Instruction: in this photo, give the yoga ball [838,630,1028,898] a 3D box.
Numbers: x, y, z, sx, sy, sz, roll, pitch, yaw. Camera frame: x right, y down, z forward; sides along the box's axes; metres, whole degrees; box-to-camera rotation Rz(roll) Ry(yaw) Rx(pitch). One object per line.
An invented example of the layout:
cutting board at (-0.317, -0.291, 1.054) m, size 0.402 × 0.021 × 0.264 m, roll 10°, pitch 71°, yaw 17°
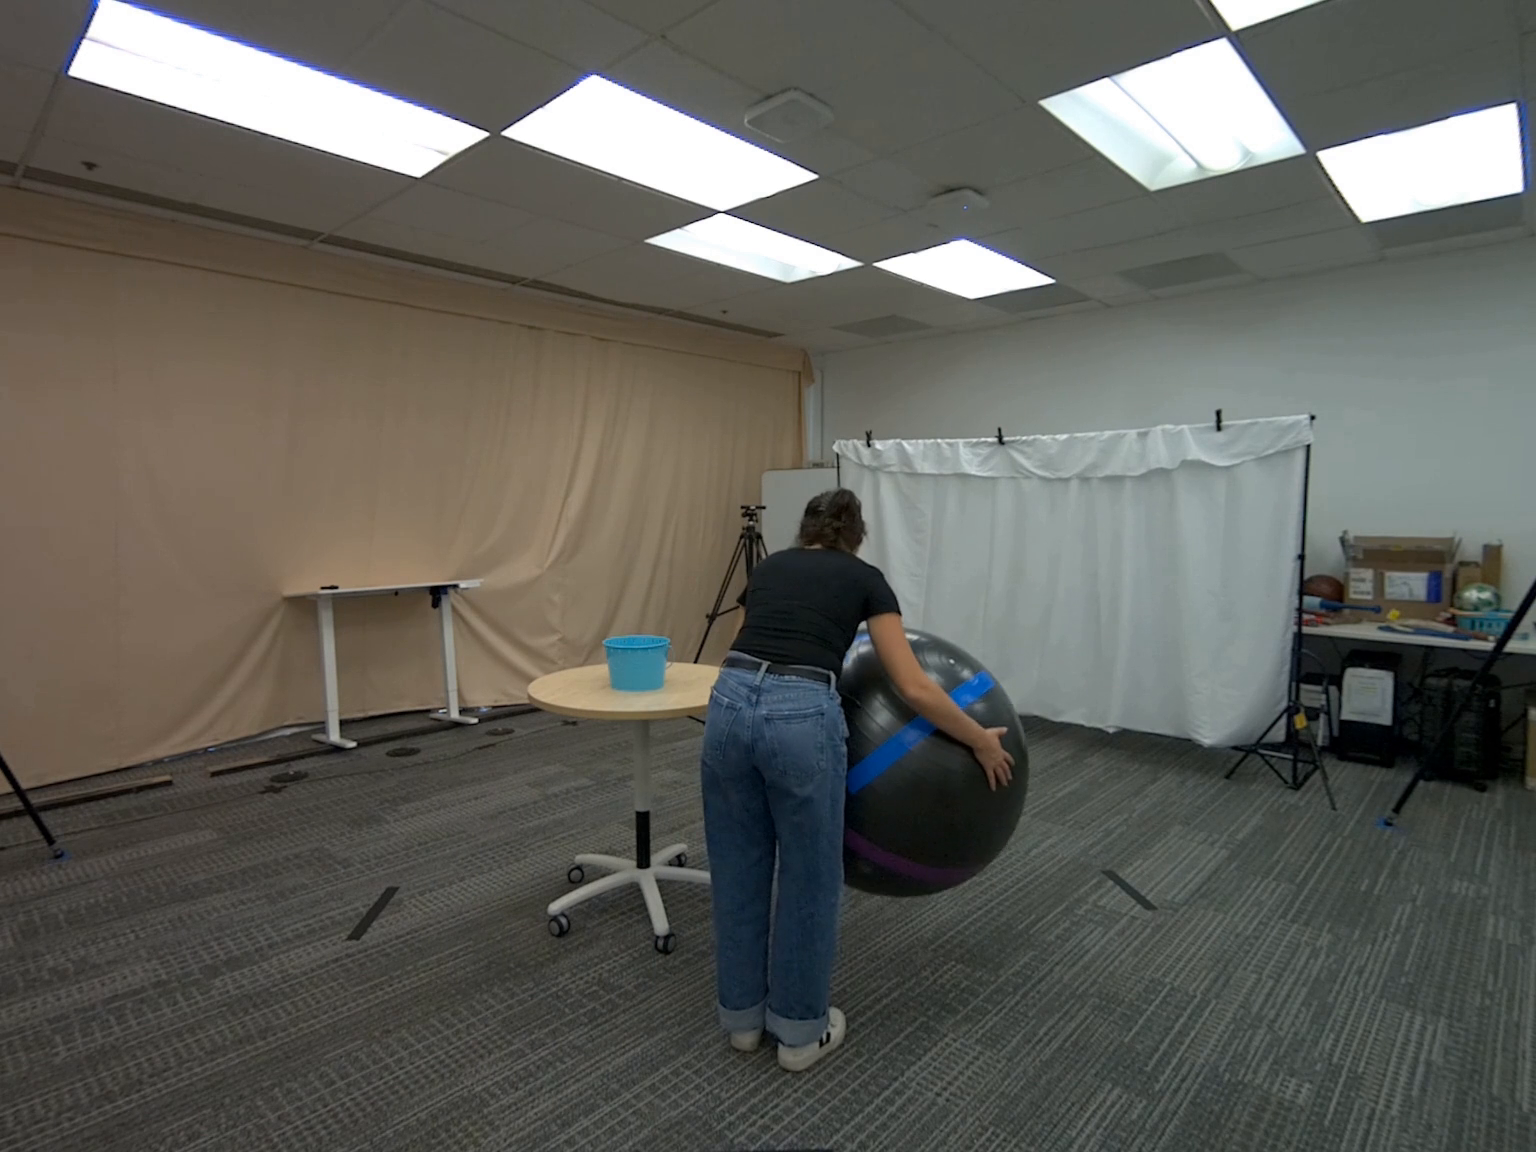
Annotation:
yoga ball at (0.381, 0.541, 2.450) m, size 0.757 × 0.756 × 0.760 m, roll 0°, pitch 4°, yaw -2°
